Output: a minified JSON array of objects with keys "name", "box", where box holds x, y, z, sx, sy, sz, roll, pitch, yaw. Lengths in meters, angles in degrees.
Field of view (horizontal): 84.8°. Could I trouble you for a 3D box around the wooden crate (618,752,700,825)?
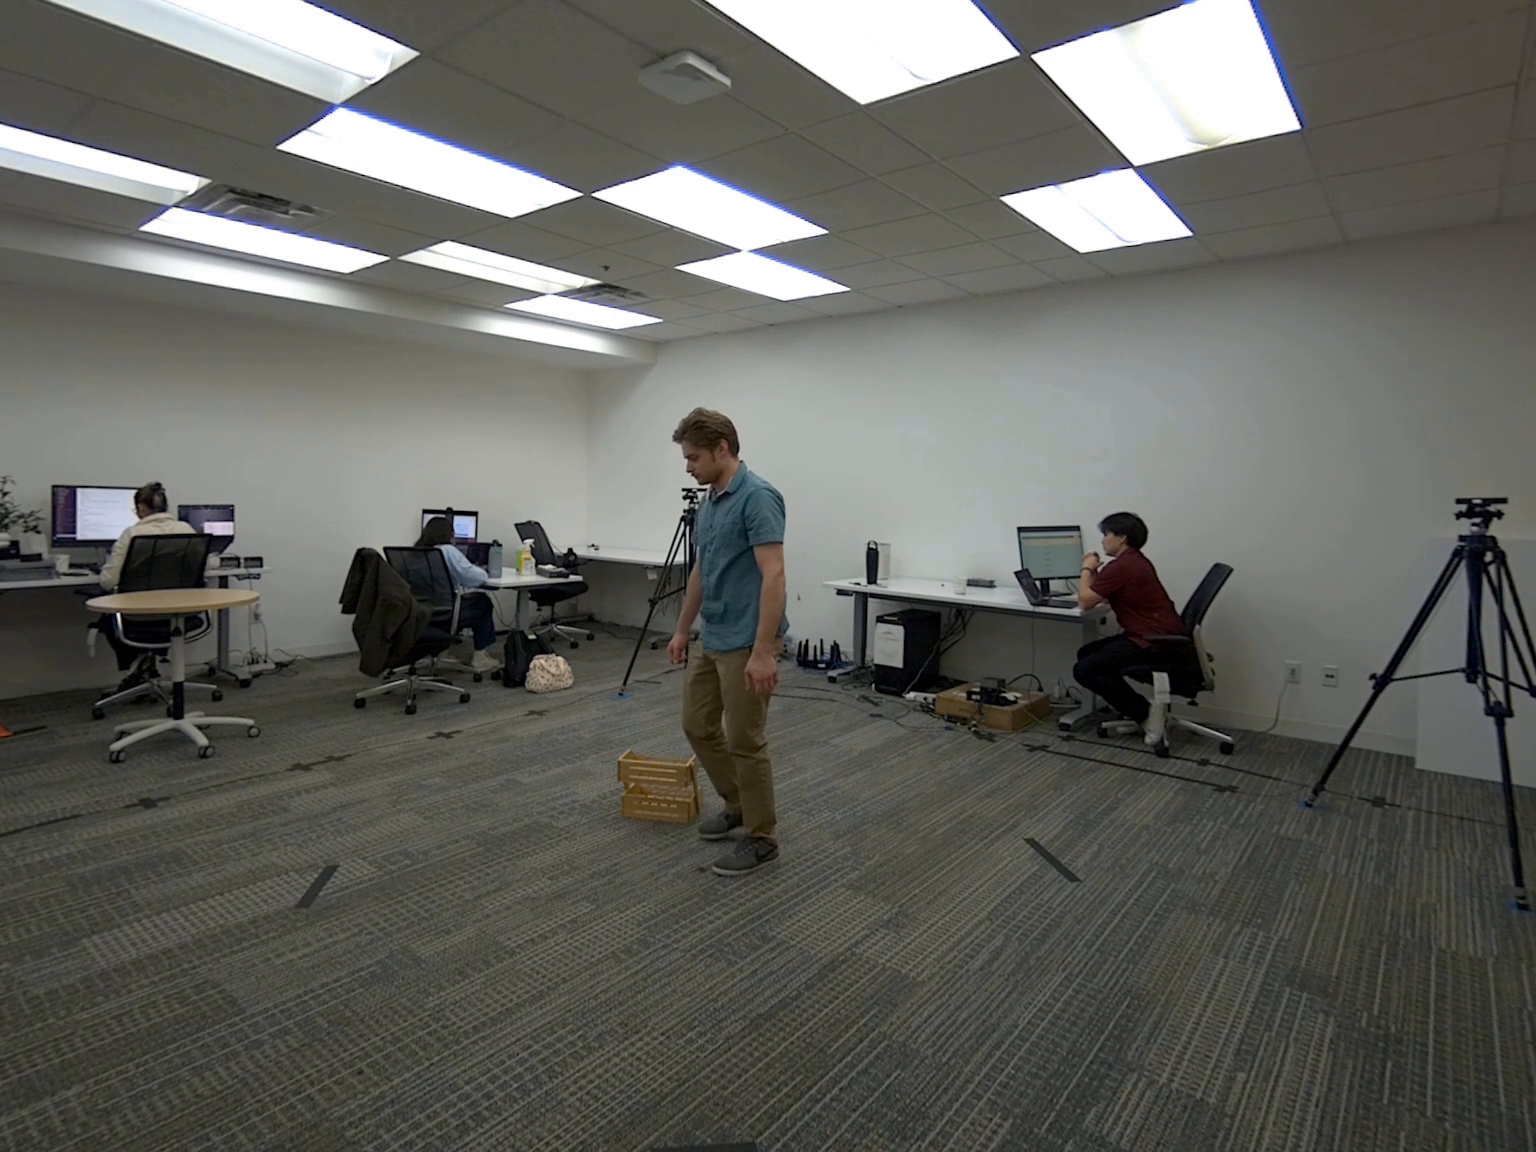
[{"name":"wooden crate","box":[-0.471,0.880,3.664,0.328,0.272,0.299,2,5,10]}]
